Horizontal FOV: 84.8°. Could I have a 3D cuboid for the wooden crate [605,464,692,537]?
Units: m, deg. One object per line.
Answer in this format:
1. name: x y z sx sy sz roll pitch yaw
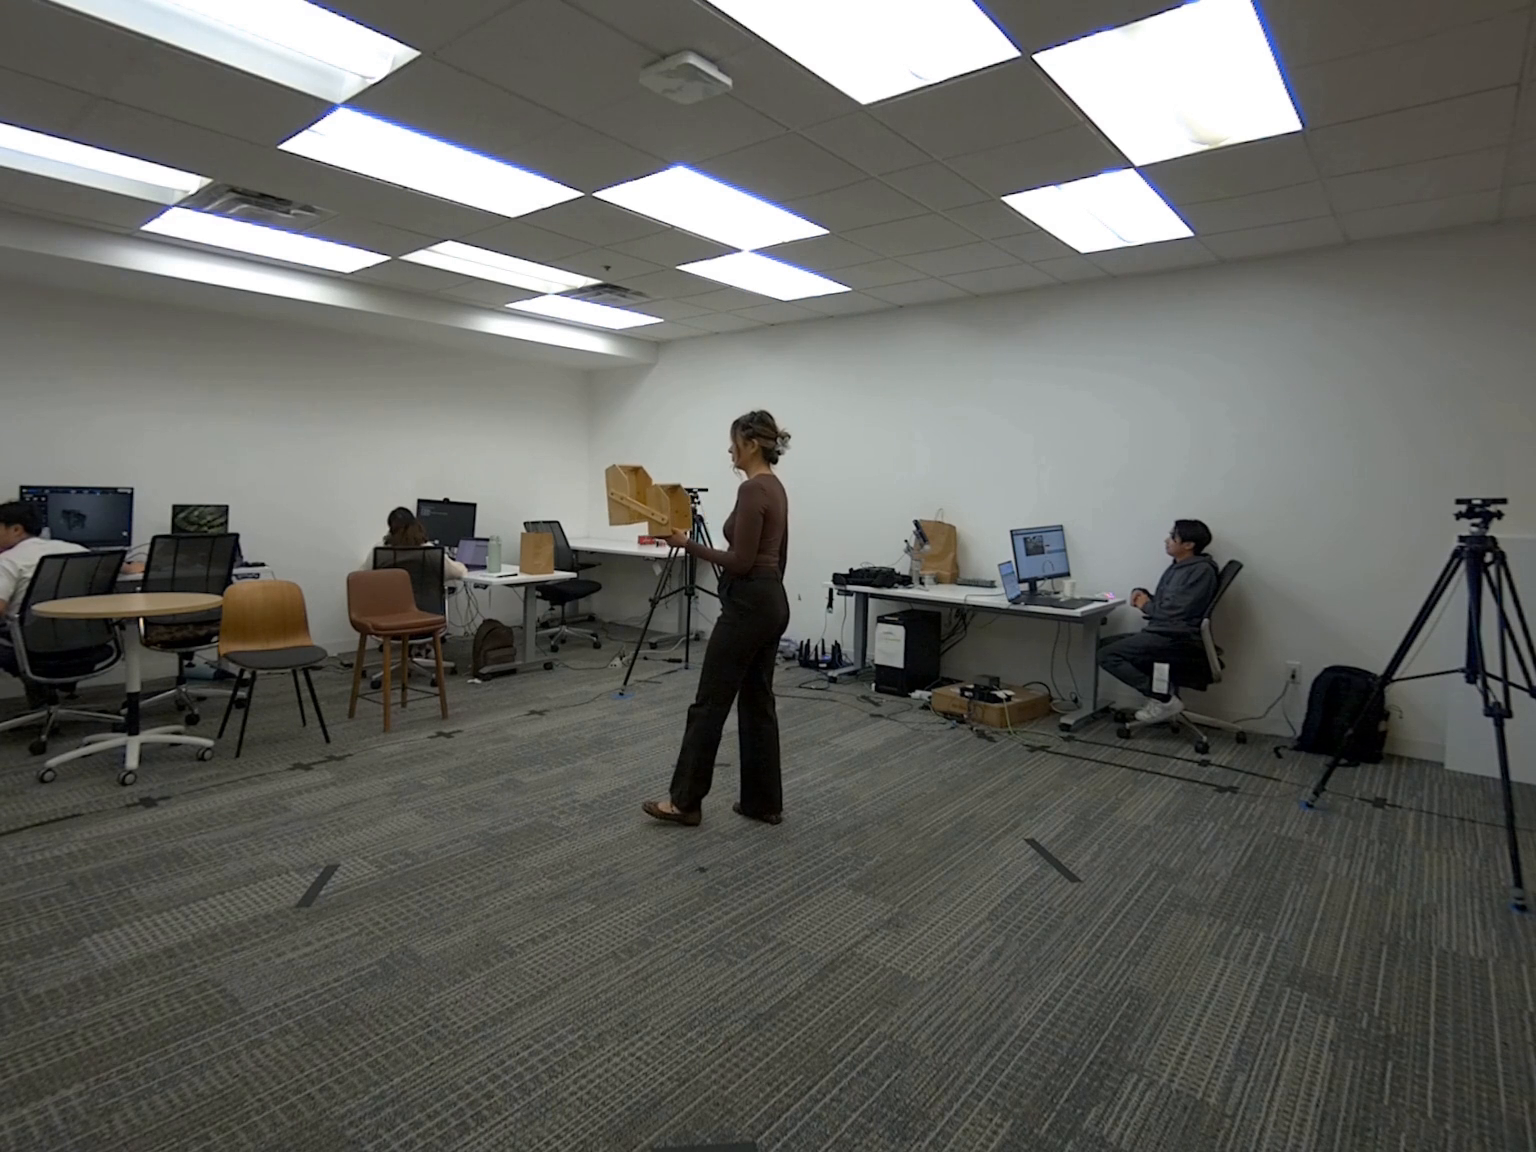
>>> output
1. wooden crate: -0.505 -0.333 3.575 0.277 0.301 0.321 -2 5 13
